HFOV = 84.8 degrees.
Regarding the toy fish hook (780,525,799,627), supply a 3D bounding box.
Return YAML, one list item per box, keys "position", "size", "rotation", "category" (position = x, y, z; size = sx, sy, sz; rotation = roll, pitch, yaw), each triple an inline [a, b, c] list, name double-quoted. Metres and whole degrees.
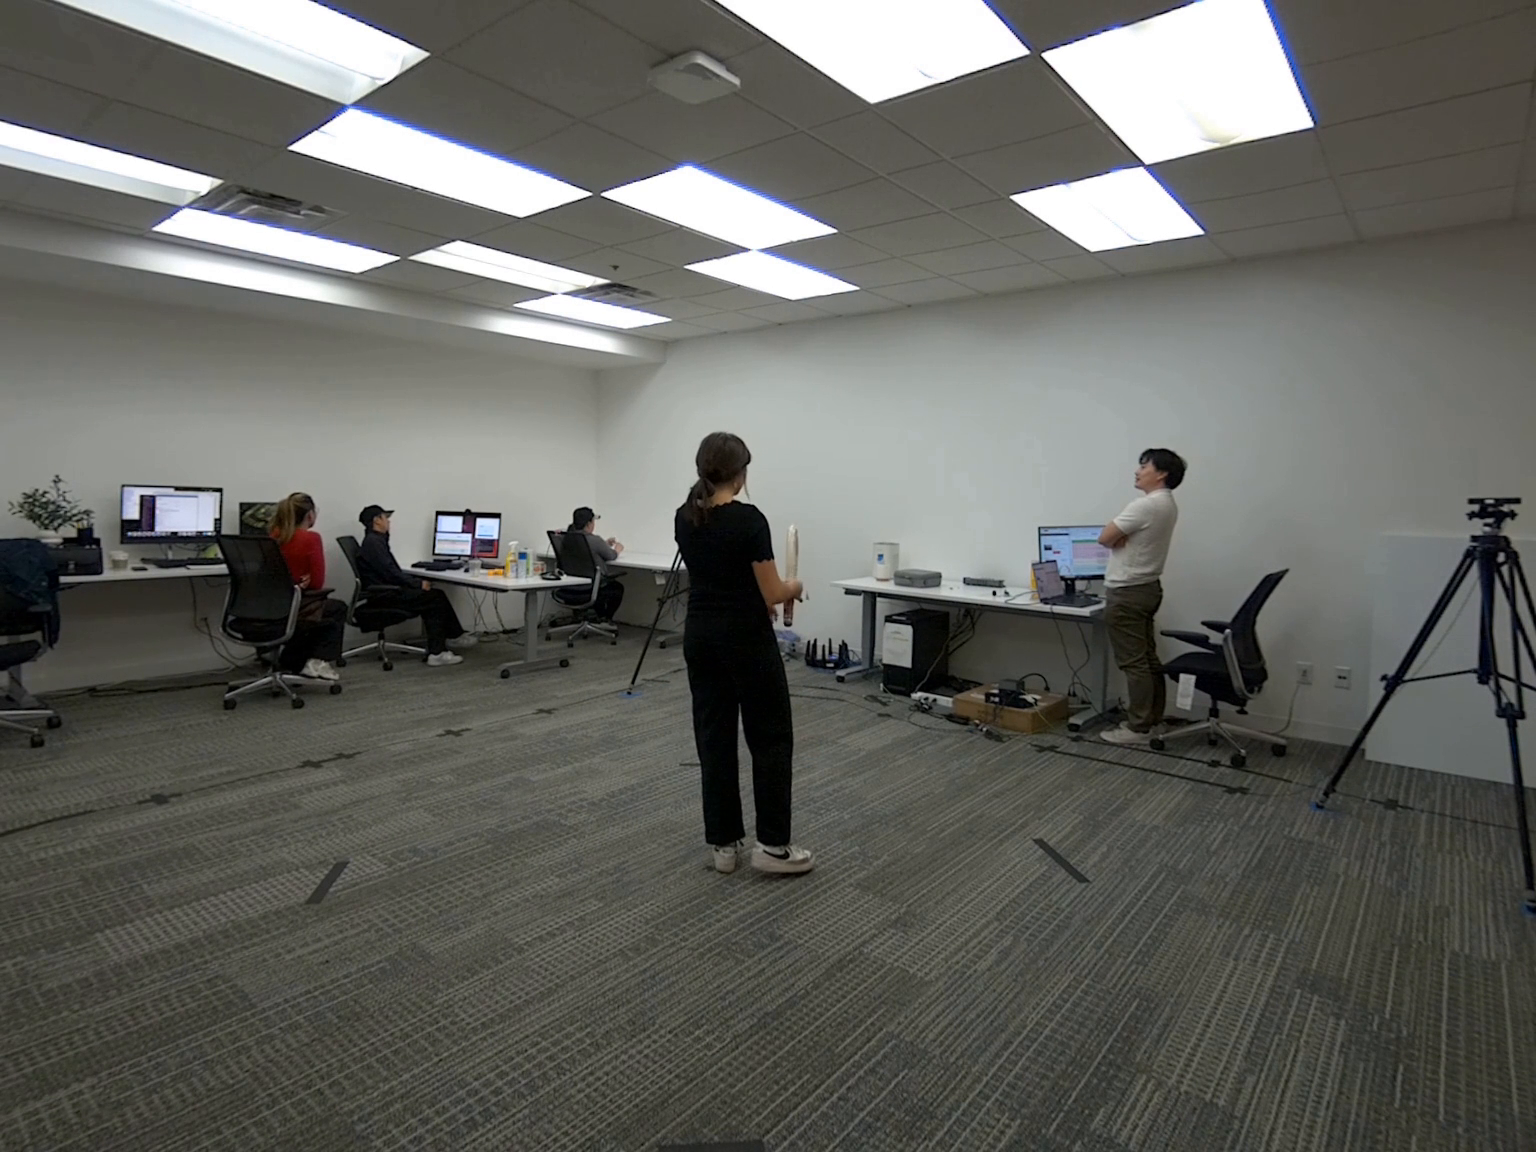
- position: [0.092, 0.033, 3.403]
  size: [0.049, 0.519, 0.216]
  rotation: [-4, -40, 11]
  category: "toy fish hook"
